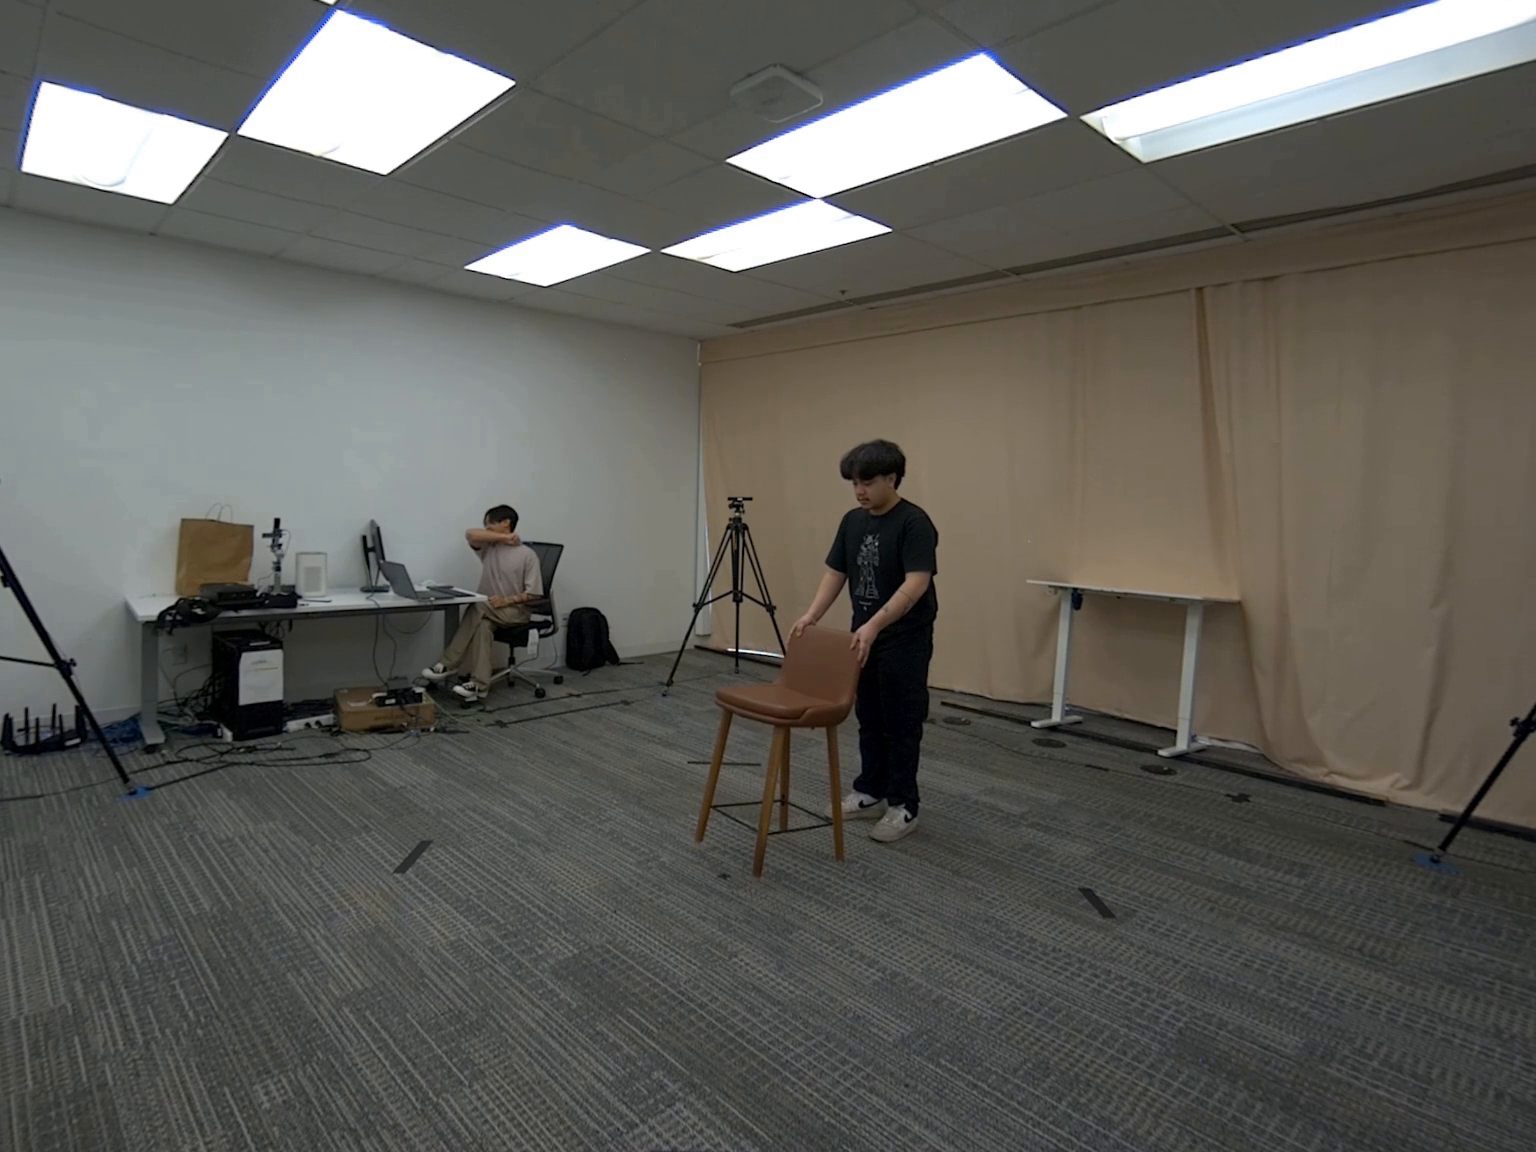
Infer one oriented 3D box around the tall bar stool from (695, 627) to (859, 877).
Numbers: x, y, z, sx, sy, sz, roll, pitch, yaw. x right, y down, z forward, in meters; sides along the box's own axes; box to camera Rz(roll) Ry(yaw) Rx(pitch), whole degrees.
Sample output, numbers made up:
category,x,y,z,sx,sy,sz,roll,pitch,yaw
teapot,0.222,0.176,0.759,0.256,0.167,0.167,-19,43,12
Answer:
category,x,y,z,sx,sy,sz,roll,pitch,yaw
tall bar stool,0.050,0.642,3.297,0.456,0.891,0.467,8,-2,-37
